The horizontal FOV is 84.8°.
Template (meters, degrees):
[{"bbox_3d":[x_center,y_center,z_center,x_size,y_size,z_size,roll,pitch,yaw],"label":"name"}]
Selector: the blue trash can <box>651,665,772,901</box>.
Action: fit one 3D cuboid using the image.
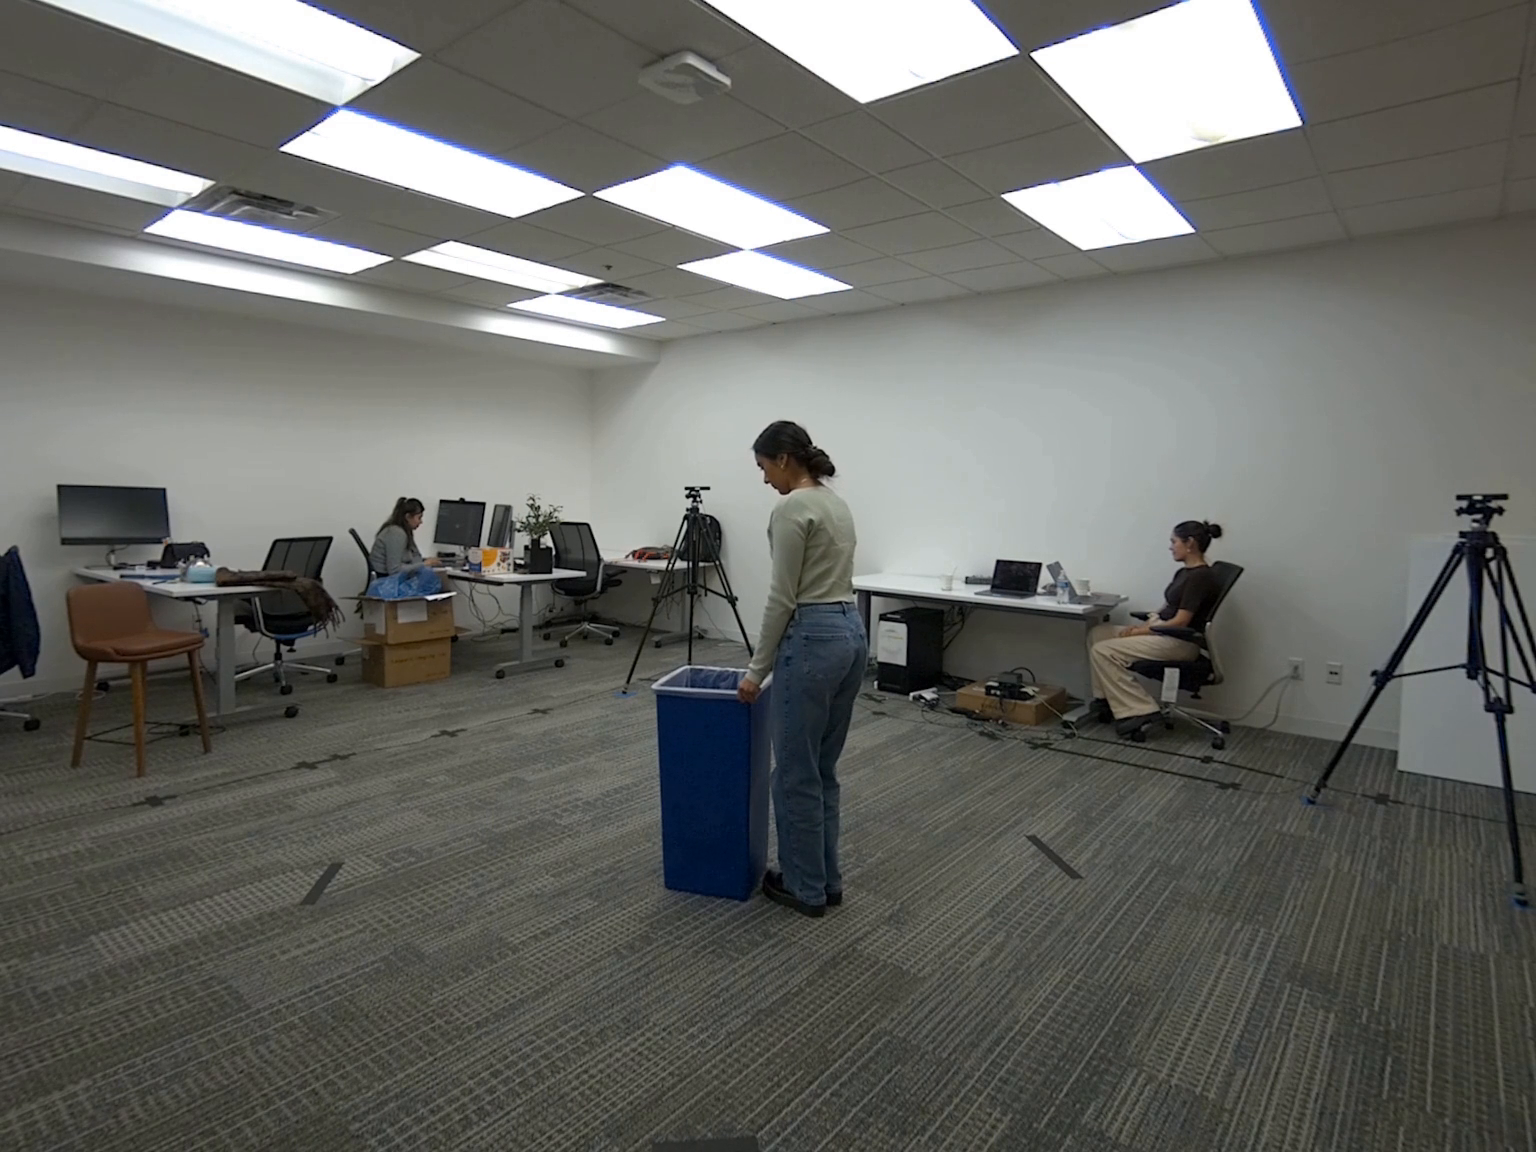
[{"bbox_3d":[-0.191,0.713,3.019,0.384,0.712,0.369,1,3,15],"label":"blue trash can"}]
